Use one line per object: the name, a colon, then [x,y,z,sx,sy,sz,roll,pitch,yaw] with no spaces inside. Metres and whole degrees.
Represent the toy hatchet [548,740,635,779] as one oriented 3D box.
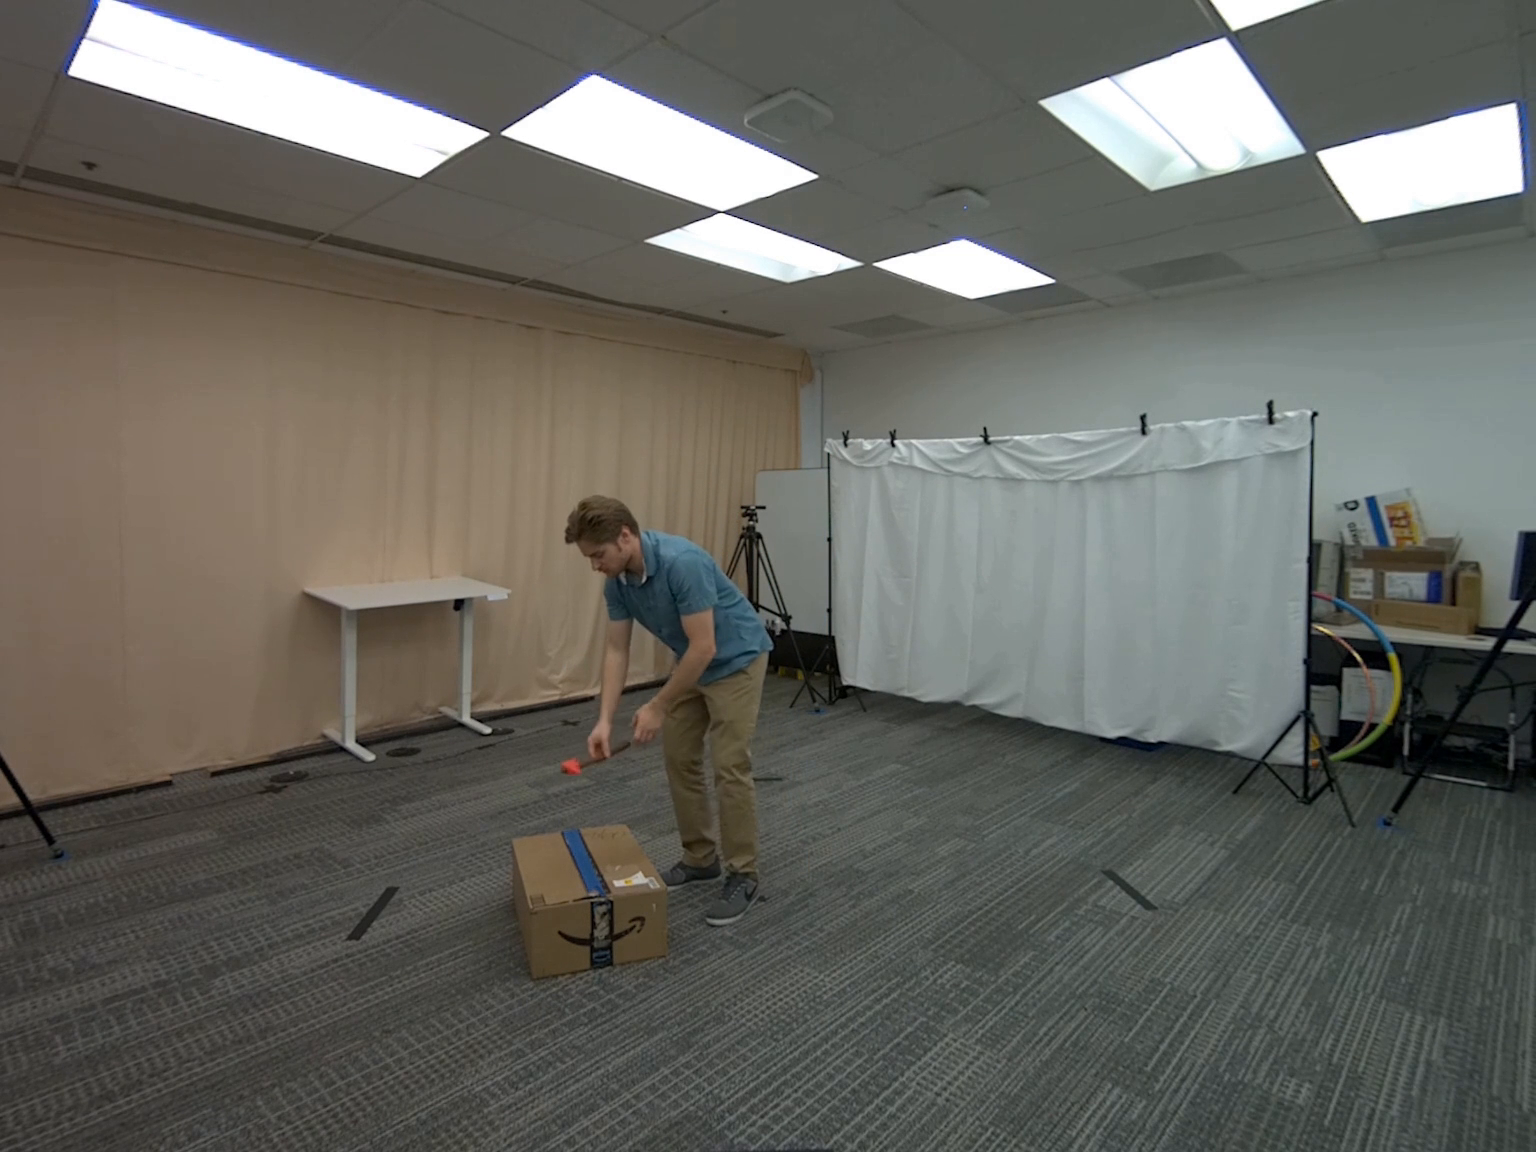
toy hatchet: [-0.593,0.614,2.857,0.135,0.029,0.263,-3,8,37]
